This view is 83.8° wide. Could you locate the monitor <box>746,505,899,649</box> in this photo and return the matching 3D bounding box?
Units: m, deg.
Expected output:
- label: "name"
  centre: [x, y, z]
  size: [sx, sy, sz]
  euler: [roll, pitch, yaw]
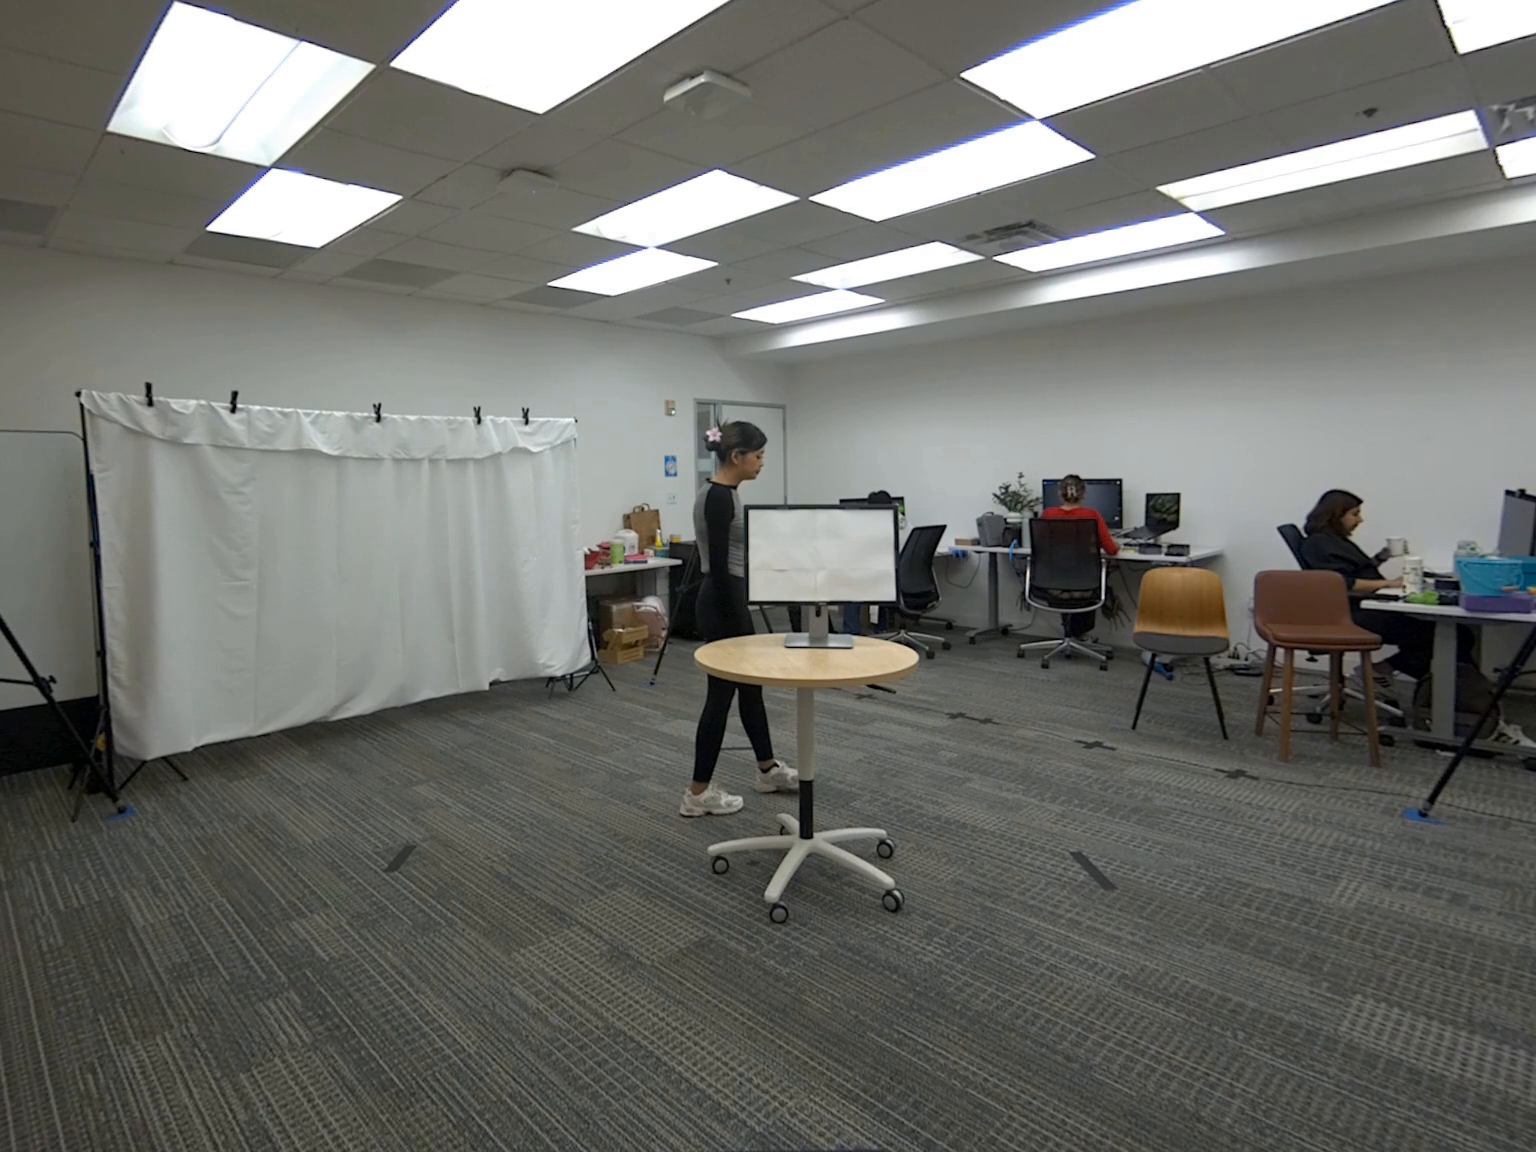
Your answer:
- label: "monitor"
  centre: [0.185, -0.003, 3.113]
  size: [0.538, 0.520, 0.188]
  euler: [0, 6, -2]
